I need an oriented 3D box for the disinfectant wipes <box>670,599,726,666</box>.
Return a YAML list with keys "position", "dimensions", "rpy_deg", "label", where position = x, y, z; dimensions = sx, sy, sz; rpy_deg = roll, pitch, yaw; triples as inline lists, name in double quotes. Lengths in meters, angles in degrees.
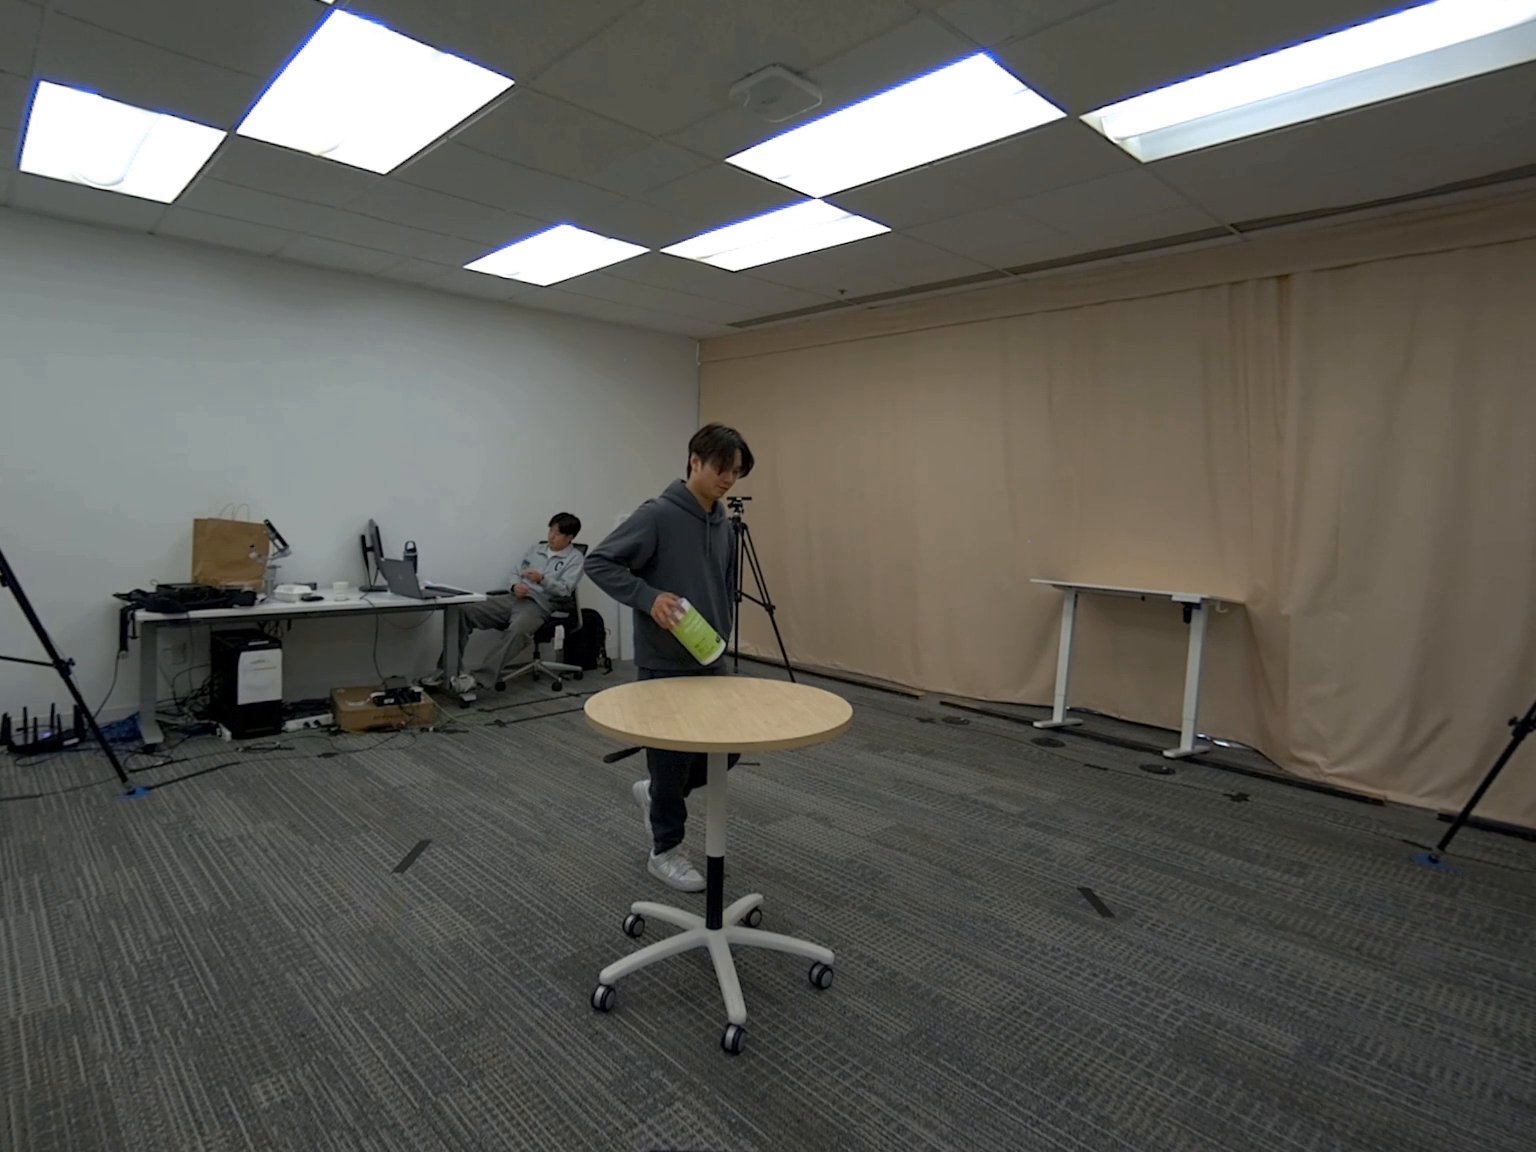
- position: [-0.269, 0.185, 2.794]
  dimensions: [0.118, 0.214, 0.119]
  rpy_deg: [-35, 16, 10]
  label: "disinfectant wipes"
